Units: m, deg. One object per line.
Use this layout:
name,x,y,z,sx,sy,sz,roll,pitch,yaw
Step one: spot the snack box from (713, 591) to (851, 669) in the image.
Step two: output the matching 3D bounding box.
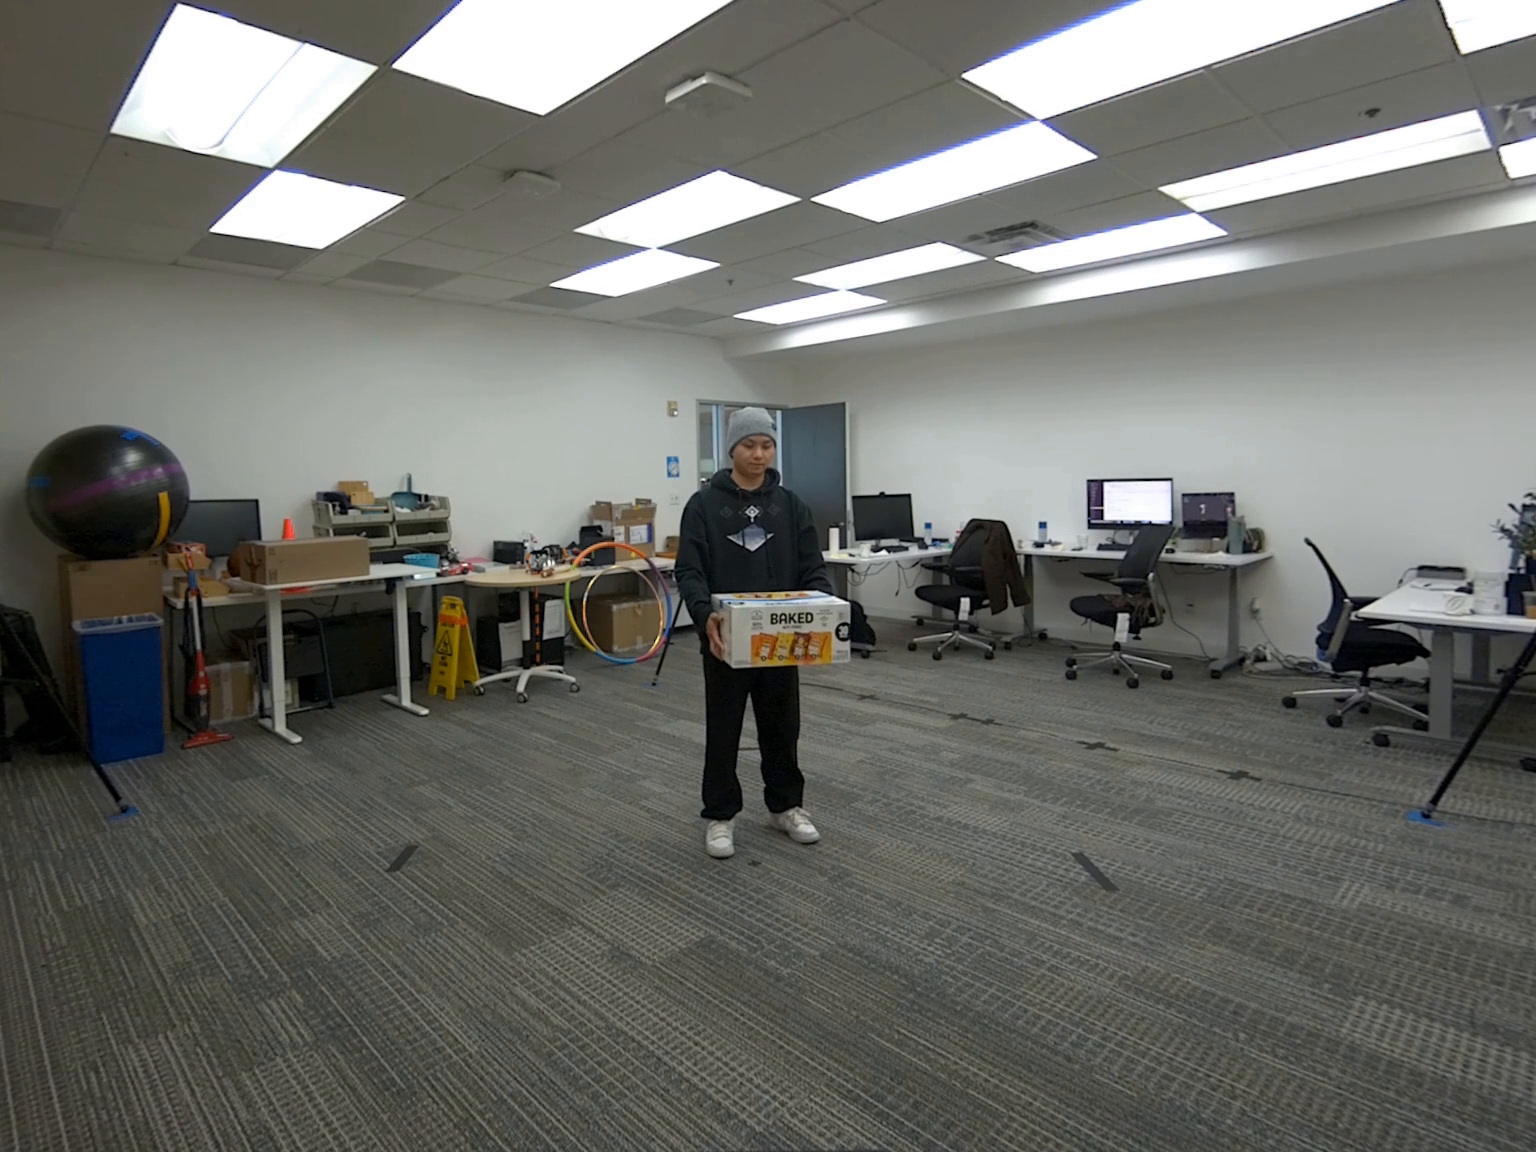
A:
snack box,0.031,0.182,2.953,0.400,0.205,0.345,-2,4,-13
